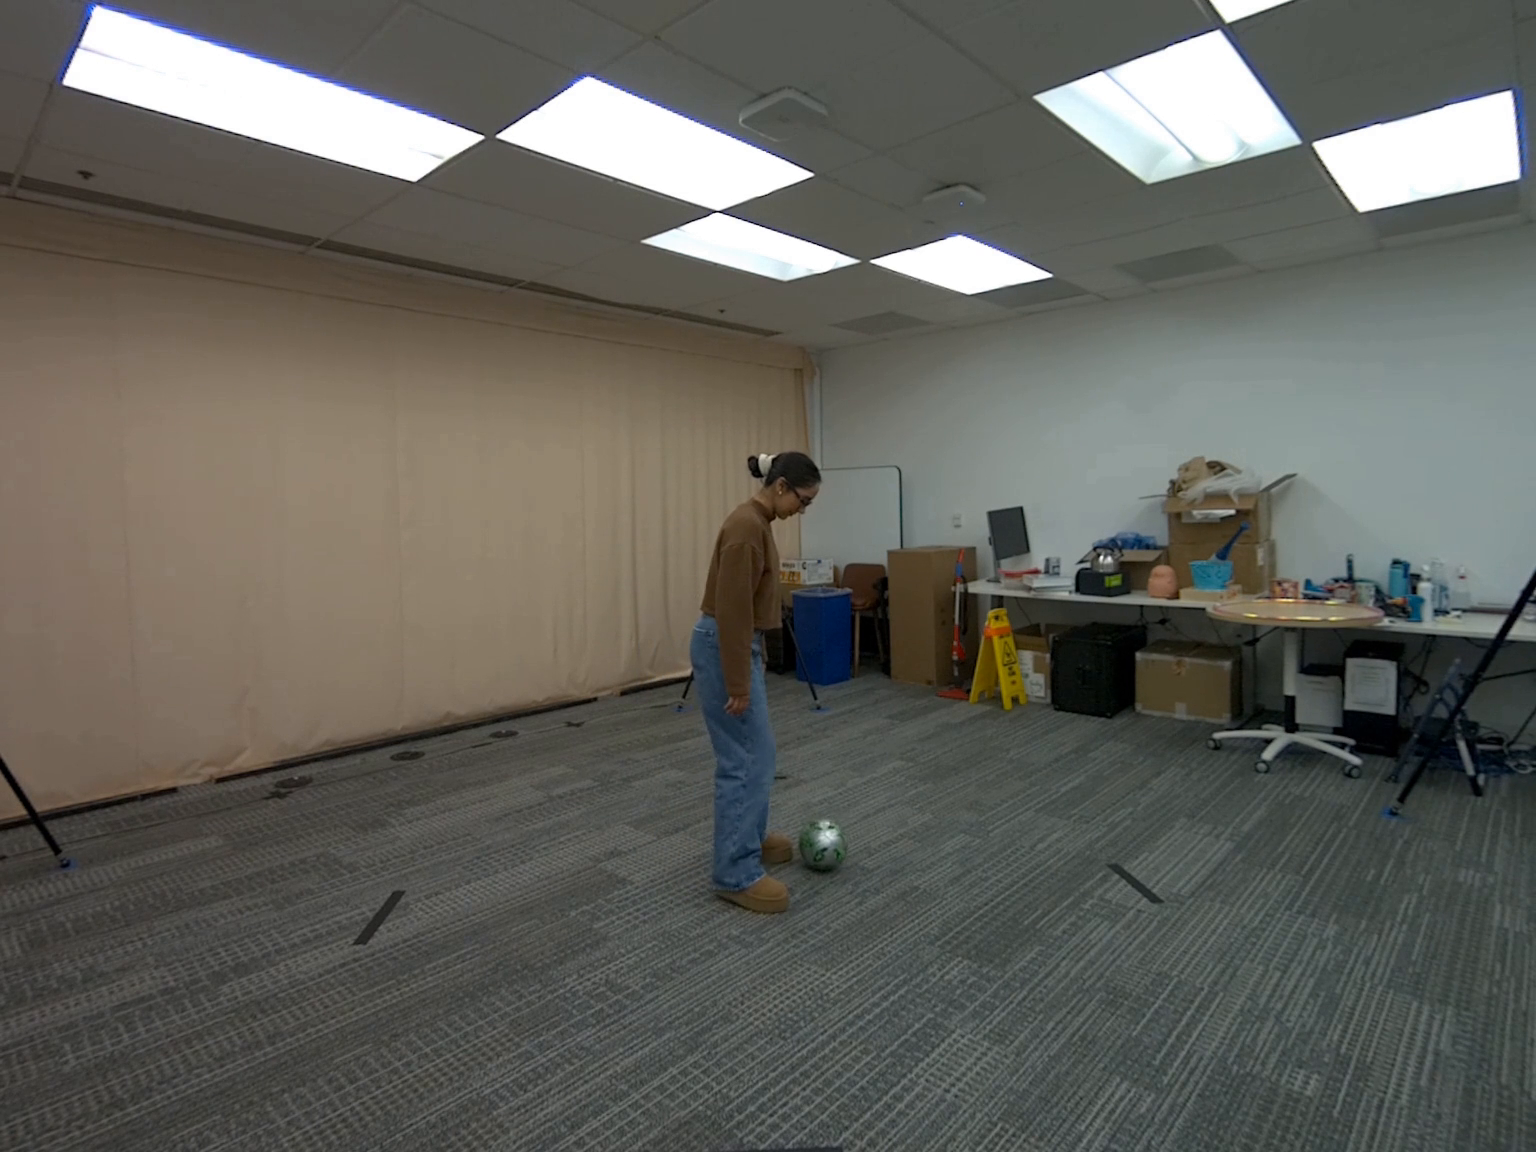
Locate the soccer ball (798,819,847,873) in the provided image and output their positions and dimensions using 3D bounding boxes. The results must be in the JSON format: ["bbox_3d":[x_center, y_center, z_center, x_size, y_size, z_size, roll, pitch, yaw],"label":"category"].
[{"bbox_3d":[0.214,1.022,3.202,0.187,0.187,0.188,-1,4,-2],"label":"soccer ball"}]
